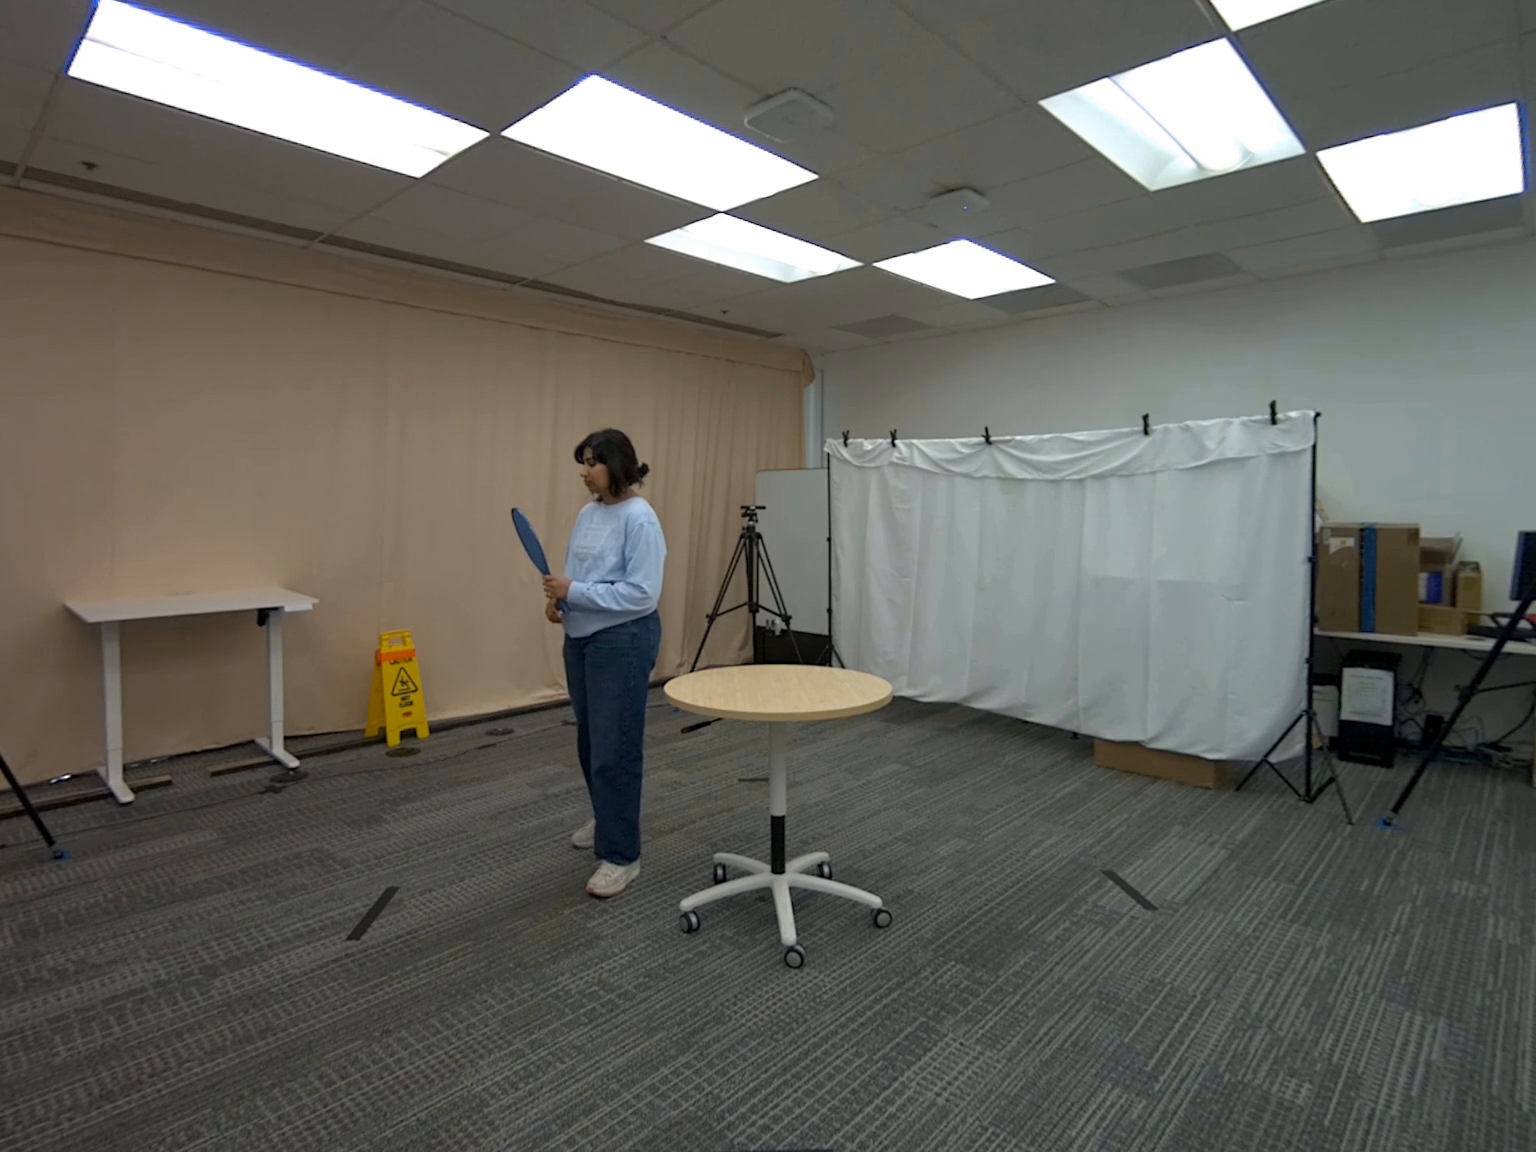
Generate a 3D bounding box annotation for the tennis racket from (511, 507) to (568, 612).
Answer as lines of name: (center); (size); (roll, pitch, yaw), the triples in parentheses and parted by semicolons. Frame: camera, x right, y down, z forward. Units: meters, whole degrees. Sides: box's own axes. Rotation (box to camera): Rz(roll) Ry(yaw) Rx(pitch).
tennis racket: (-0.832, -0.058, 3.097); (0.031, 0.432, 0.217); (-29, 1, -27)
